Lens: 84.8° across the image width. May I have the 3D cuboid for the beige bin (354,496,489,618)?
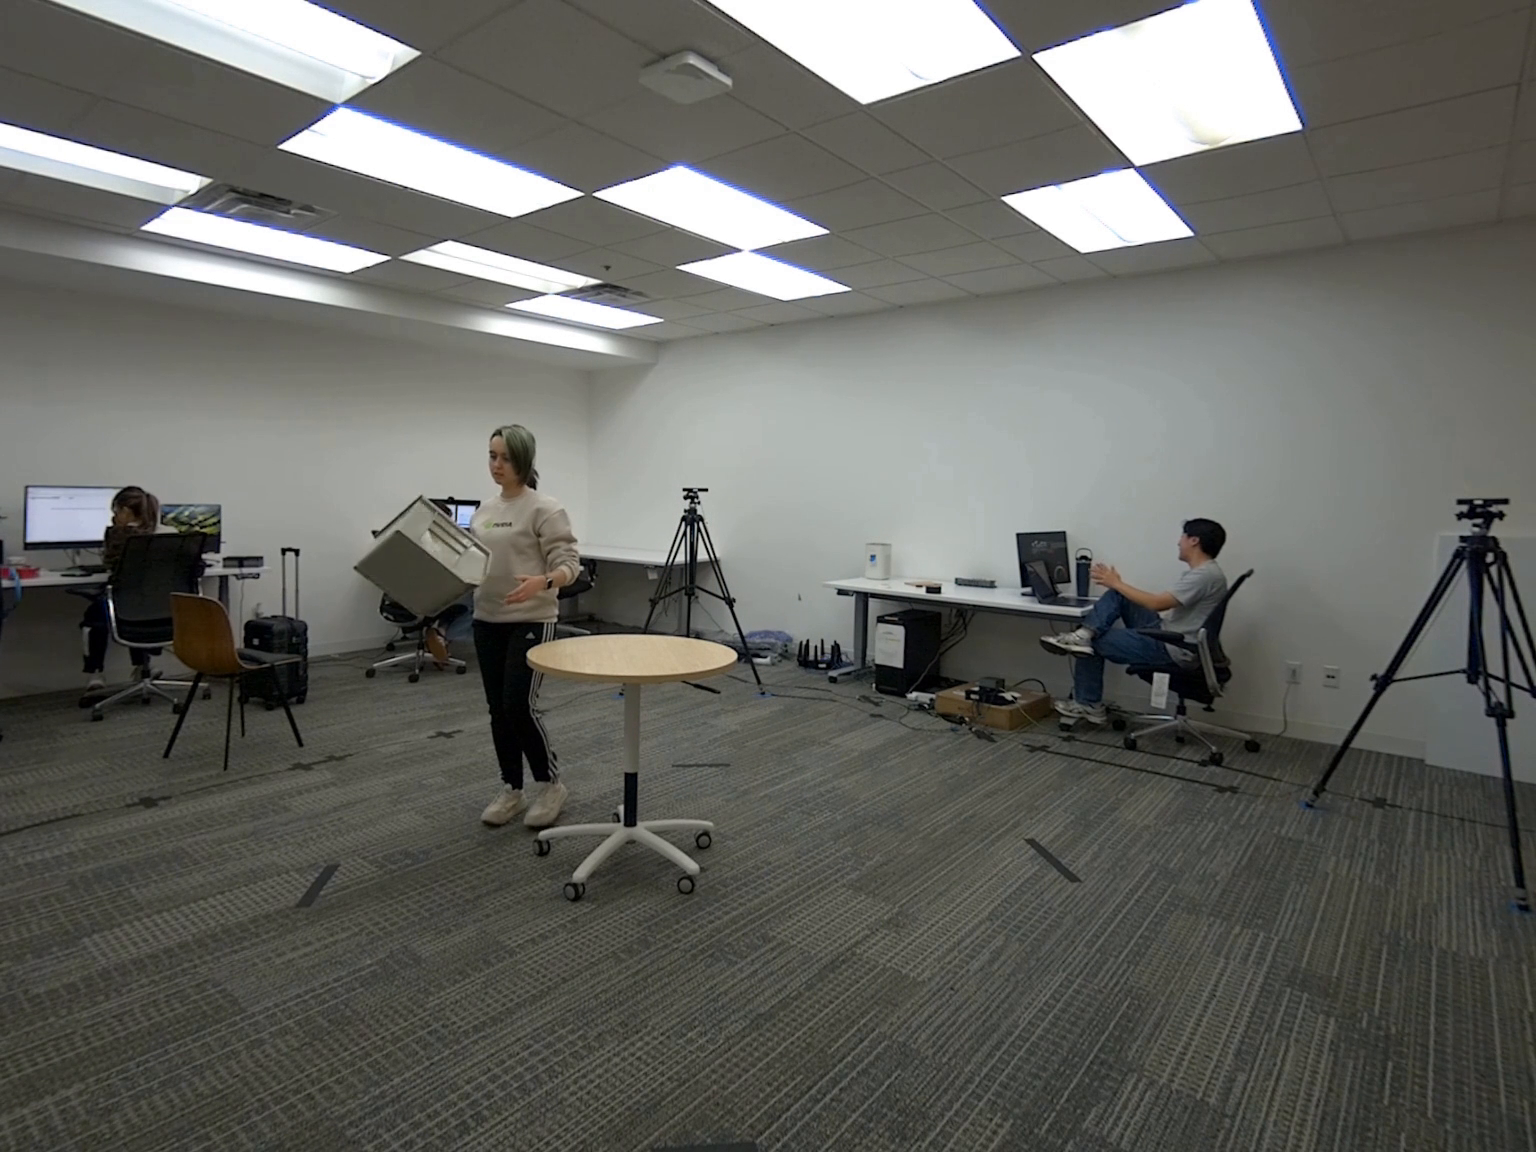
[{"bbox_3d":[-1.347,-0.054,3.285,0.428,0.192,0.367,-27,-61,40],"label":"beige bin"}]
